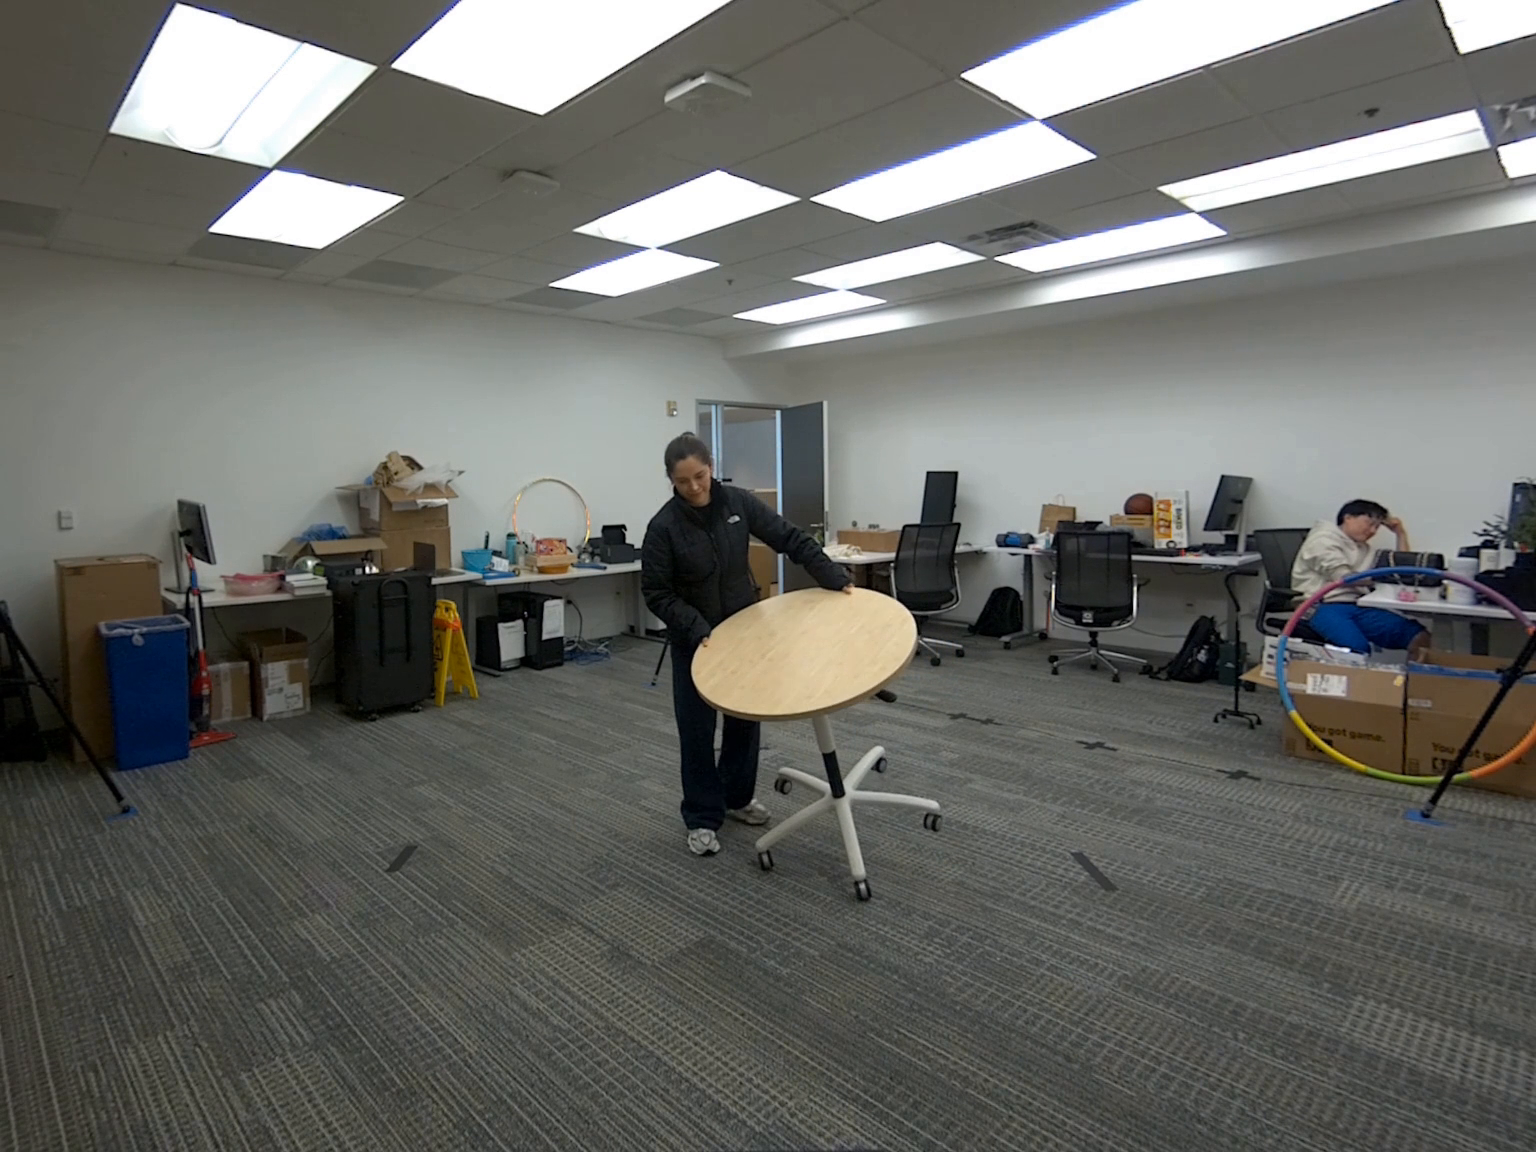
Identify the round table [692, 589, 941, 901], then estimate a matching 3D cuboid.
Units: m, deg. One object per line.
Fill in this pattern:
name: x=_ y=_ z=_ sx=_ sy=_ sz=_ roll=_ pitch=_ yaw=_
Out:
round table: x=0.197 y=0.570 z=3.043 sx=0.788 sy=0.767 sz=0.802 roll=-12 pitch=24 yaw=4
